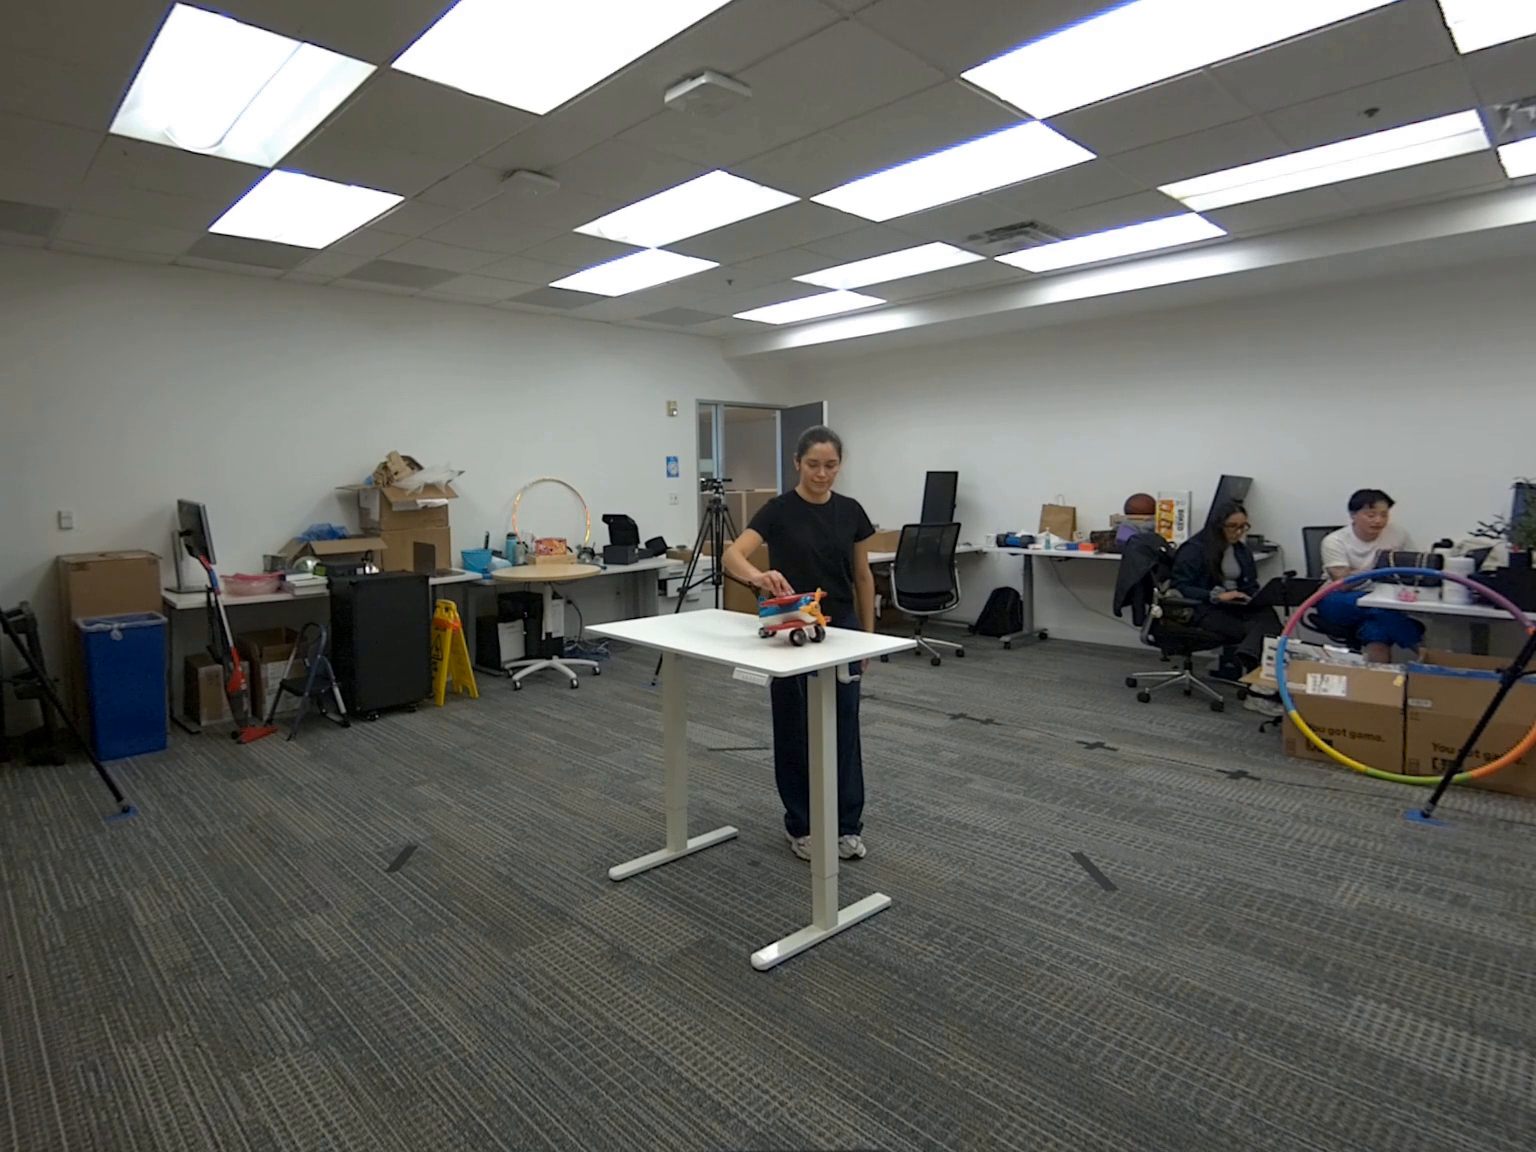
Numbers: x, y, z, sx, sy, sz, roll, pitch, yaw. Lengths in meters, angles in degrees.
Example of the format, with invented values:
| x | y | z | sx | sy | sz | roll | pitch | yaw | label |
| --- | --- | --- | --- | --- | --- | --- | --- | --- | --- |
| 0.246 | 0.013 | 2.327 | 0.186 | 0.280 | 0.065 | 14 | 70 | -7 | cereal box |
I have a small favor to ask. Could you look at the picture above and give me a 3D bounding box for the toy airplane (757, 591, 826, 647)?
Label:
| x | y | z | sx | sy | sz | roll | pitch | yaw | label |
| --- | --- | --- | --- | --- | --- | --- | --- | --- | --- |
| 0.056 | 0.131 | 2.703 | 0.264 | 0.156 | 0.247 | 2 | 6 | 20 | toy airplane |
